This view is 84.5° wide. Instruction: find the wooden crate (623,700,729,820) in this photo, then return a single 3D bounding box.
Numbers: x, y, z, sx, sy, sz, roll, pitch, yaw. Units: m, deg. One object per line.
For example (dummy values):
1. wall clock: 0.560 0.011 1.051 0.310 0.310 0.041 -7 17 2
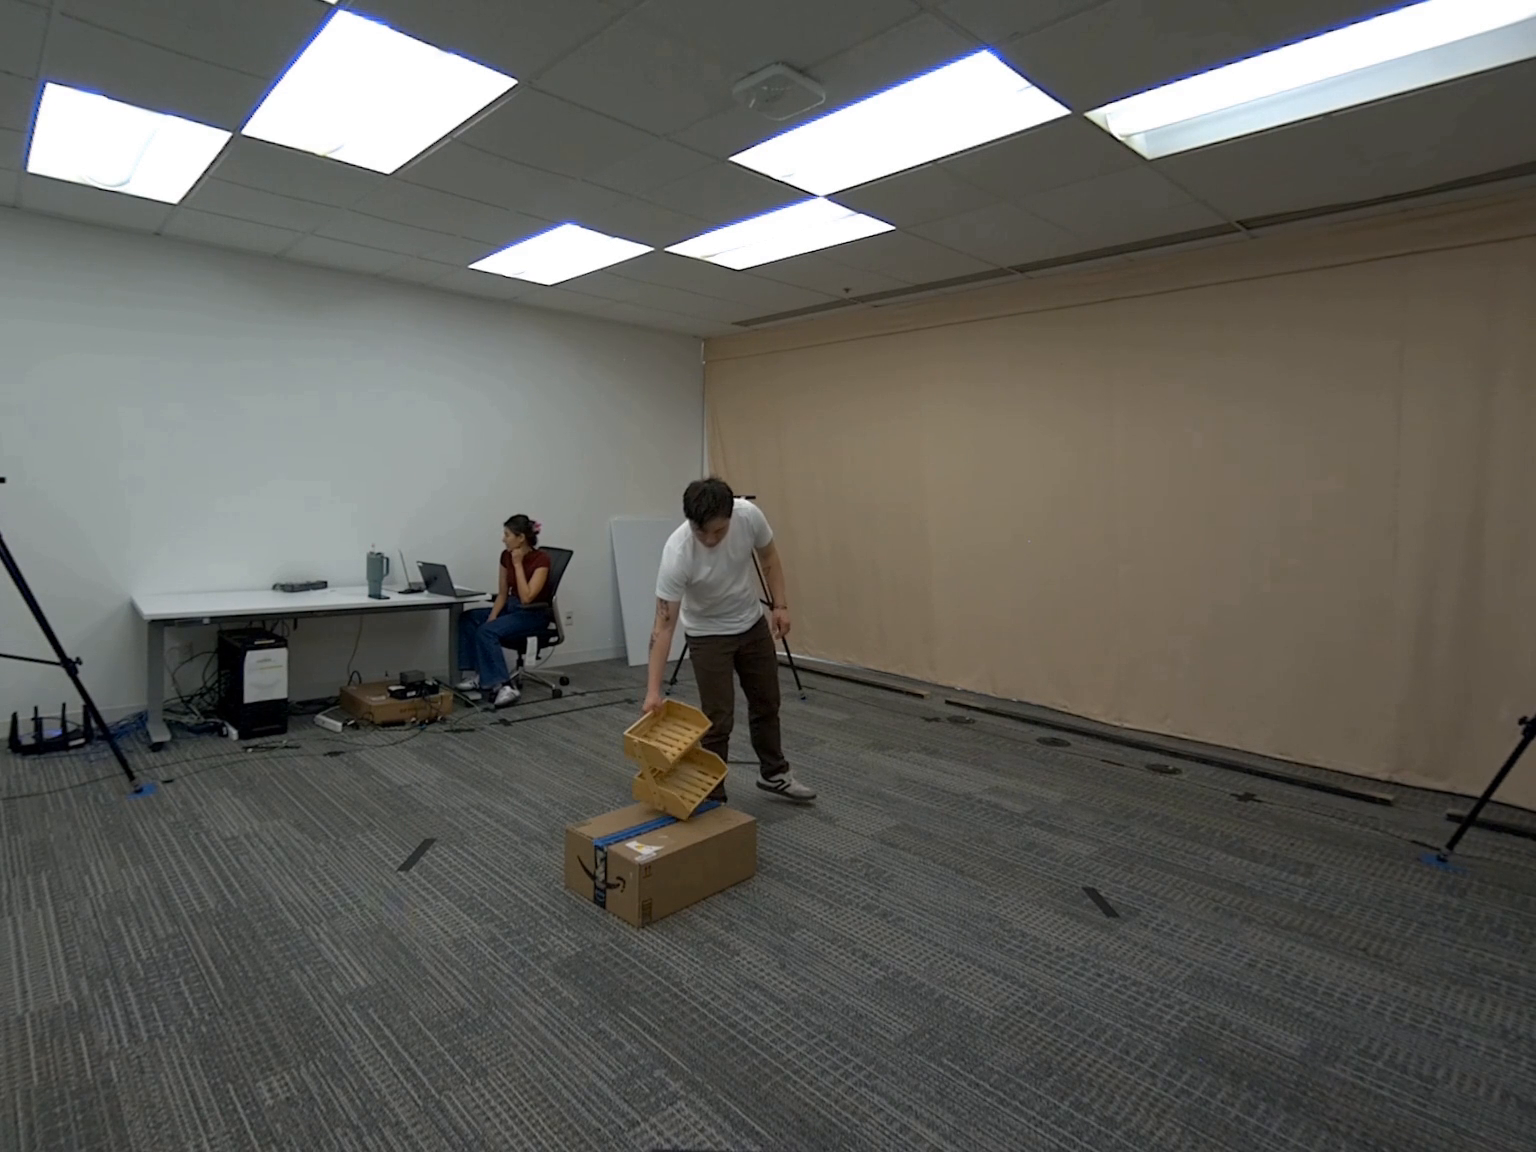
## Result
1. wooden crate: -0.337 0.676 3.147 0.308 0.269 0.322 14 23 24
